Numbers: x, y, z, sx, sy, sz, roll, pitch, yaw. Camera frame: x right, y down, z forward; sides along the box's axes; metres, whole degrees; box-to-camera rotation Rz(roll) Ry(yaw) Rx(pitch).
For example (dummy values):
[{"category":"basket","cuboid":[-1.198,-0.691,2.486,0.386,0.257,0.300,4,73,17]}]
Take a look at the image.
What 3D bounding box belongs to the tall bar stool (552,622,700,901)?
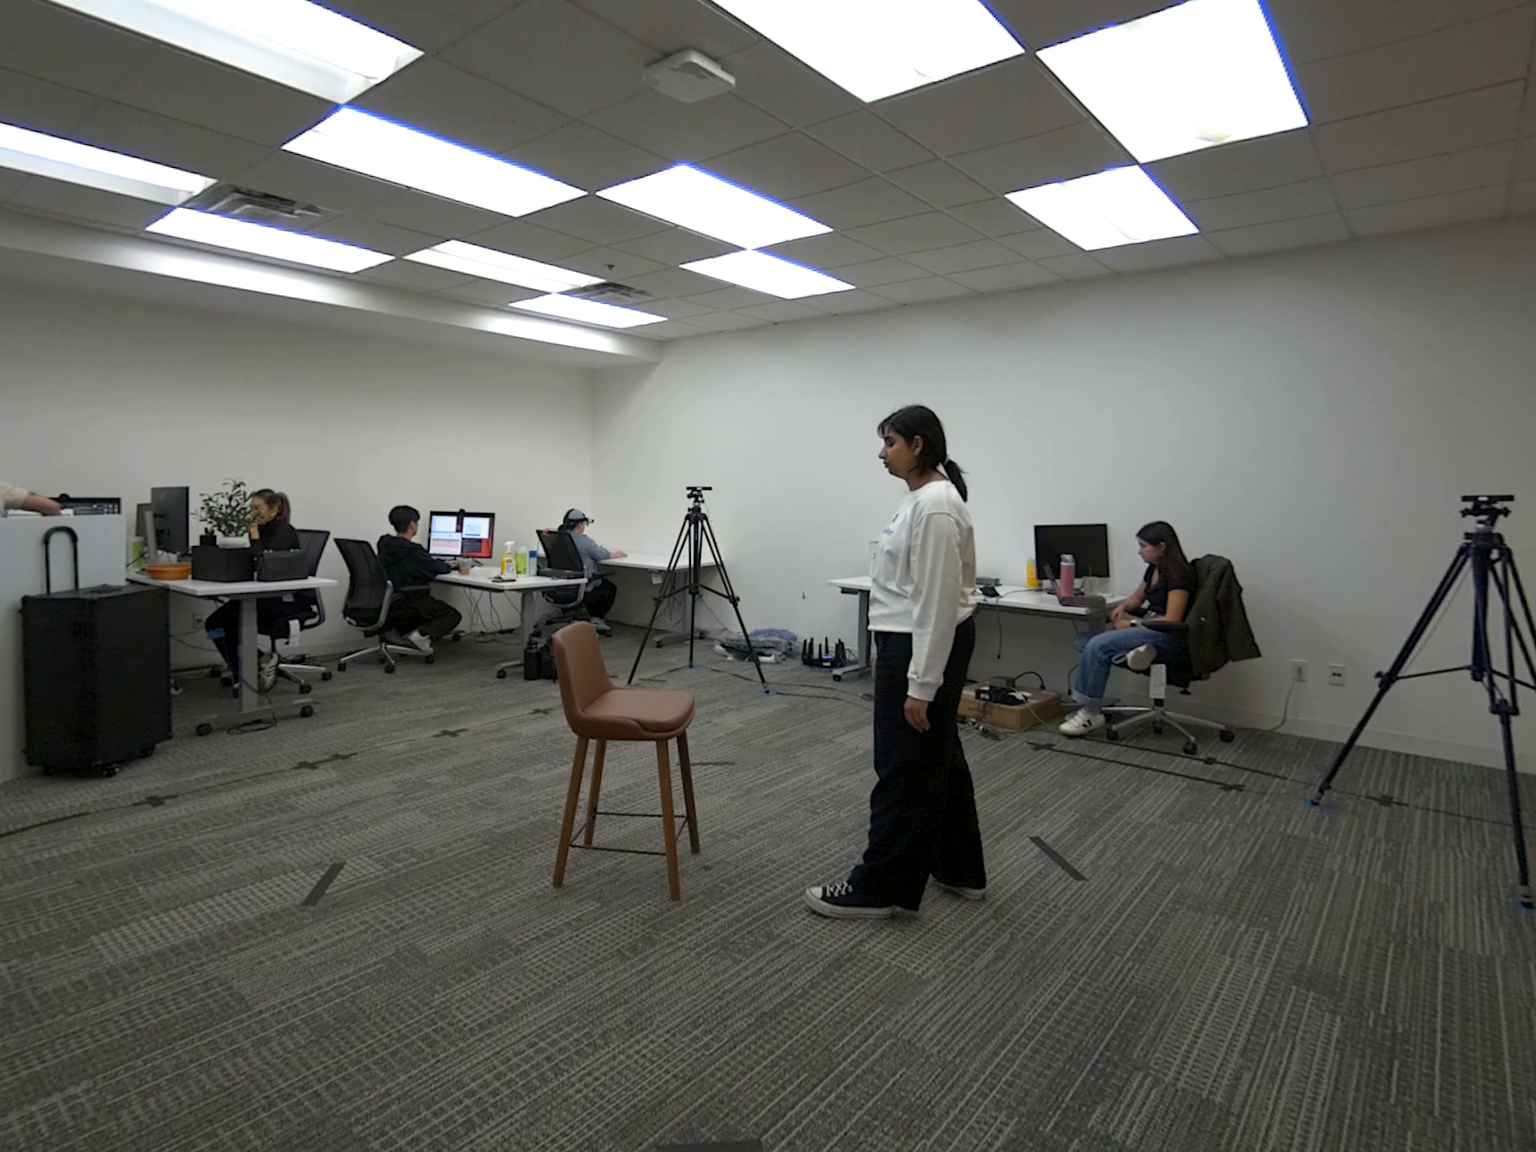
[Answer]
[{"category":"tall bar stool","cuboid":[-0.502,0.631,3.071,0.472,0.887,0.453,0,3,9]}]
